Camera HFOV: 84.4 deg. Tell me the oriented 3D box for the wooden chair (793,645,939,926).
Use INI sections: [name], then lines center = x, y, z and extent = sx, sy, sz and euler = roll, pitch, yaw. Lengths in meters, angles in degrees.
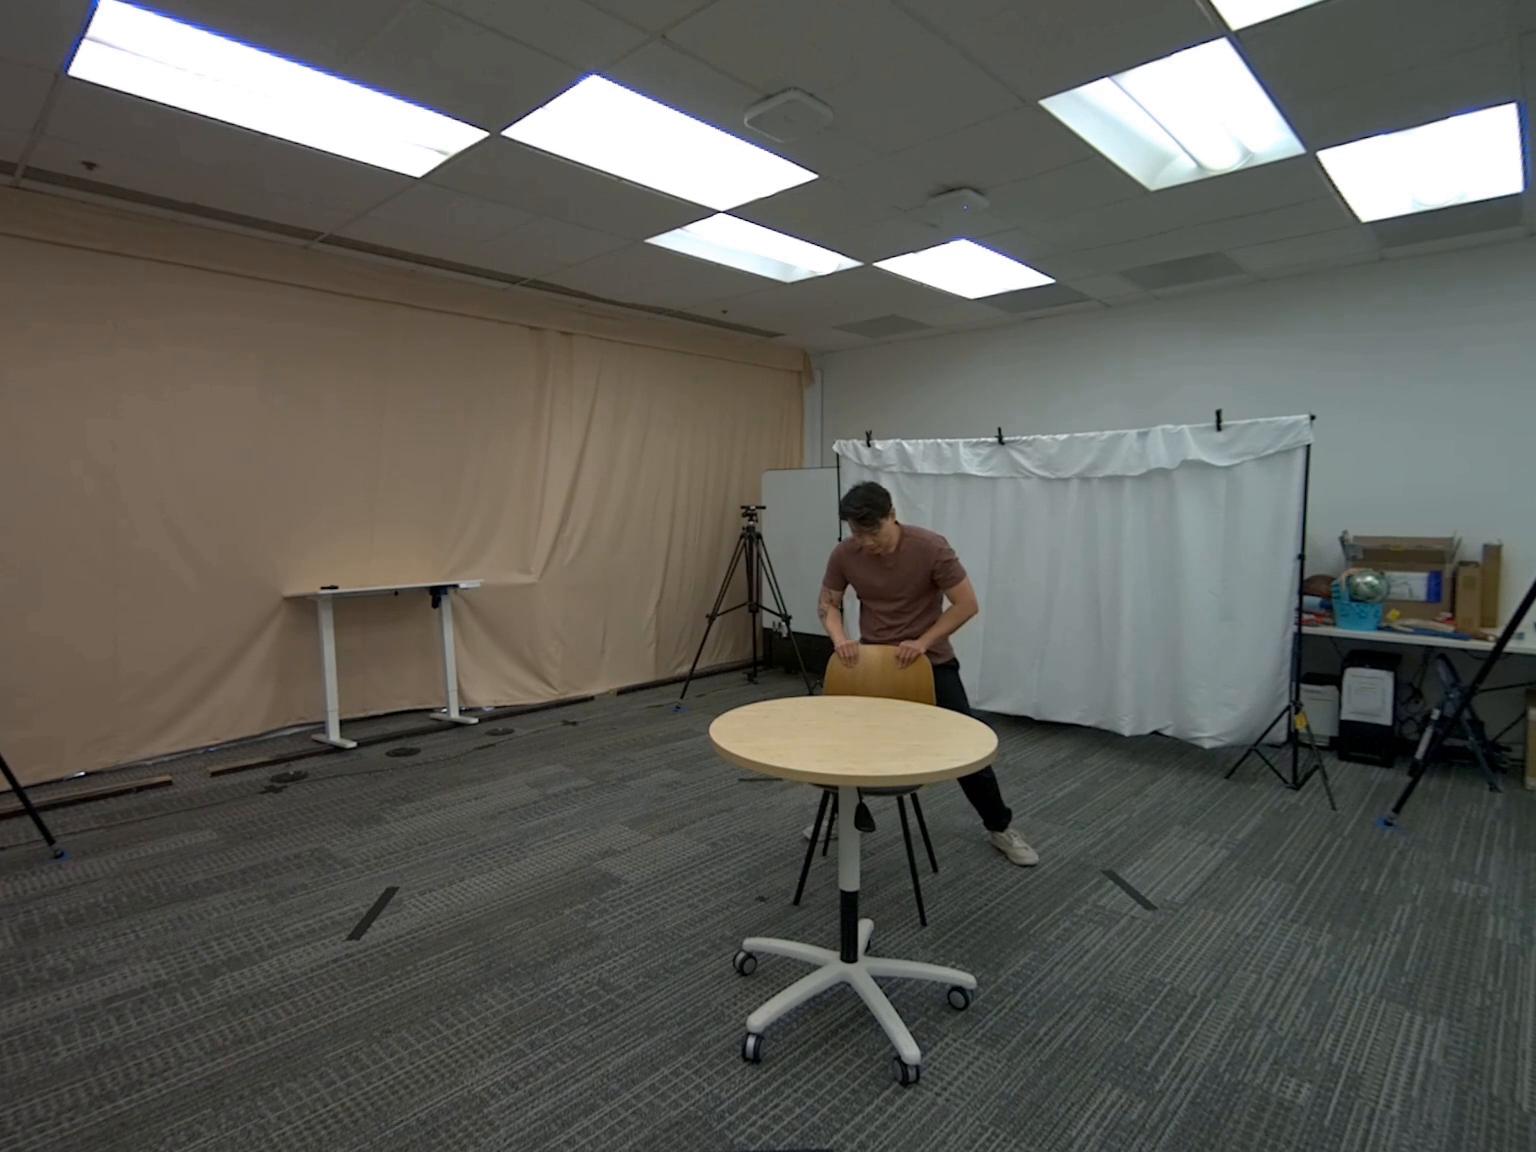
[wooden chair]
center = 0.375, 0.709, 3.023
extent = 0.488, 0.878, 0.512
euler = 1, -1, 19
